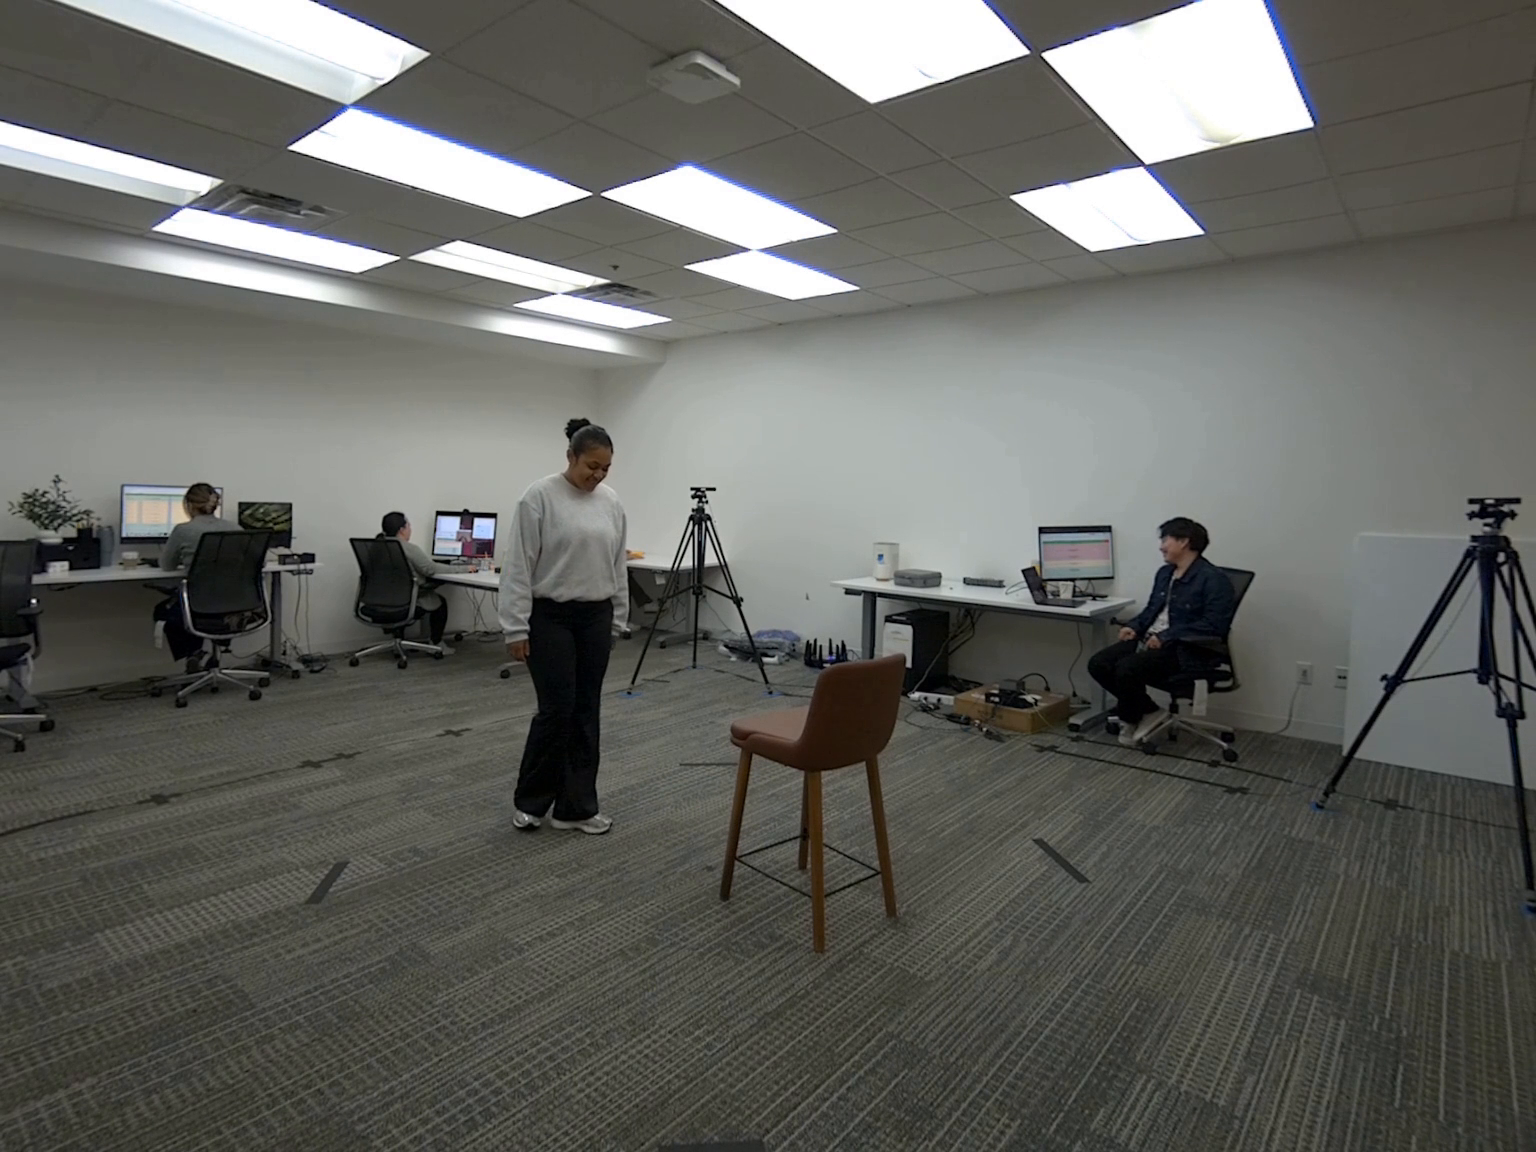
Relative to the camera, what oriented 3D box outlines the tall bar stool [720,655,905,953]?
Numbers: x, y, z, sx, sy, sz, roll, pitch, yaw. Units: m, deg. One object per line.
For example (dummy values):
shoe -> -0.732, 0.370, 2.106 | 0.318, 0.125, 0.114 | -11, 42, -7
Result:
tall bar stool -> 0.147, 0.668, 2.815 | 0.442, 0.886, 0.484 | -1, 6, -42
